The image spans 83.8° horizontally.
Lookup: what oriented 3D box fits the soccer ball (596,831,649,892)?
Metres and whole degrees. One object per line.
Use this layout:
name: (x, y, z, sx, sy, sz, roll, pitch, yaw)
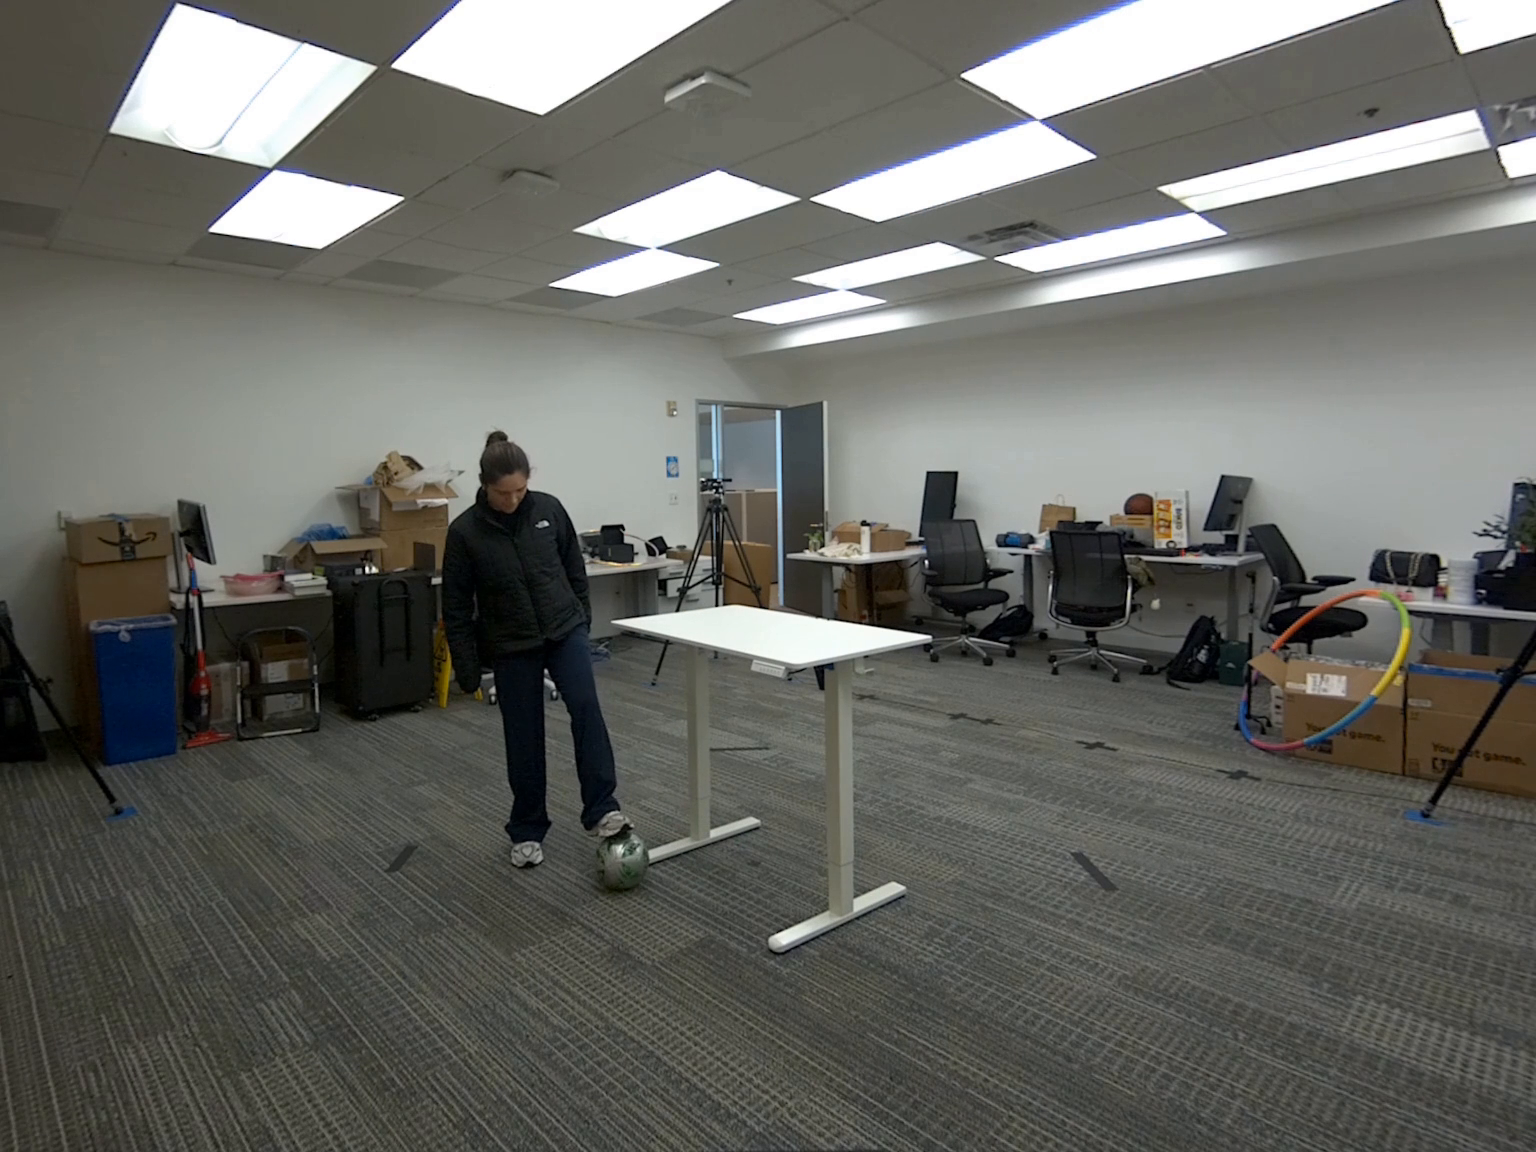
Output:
soccer ball: (-0.491, 0.982, 2.940, 0.187, 0.187, 0.188, -1, 5, -2)
